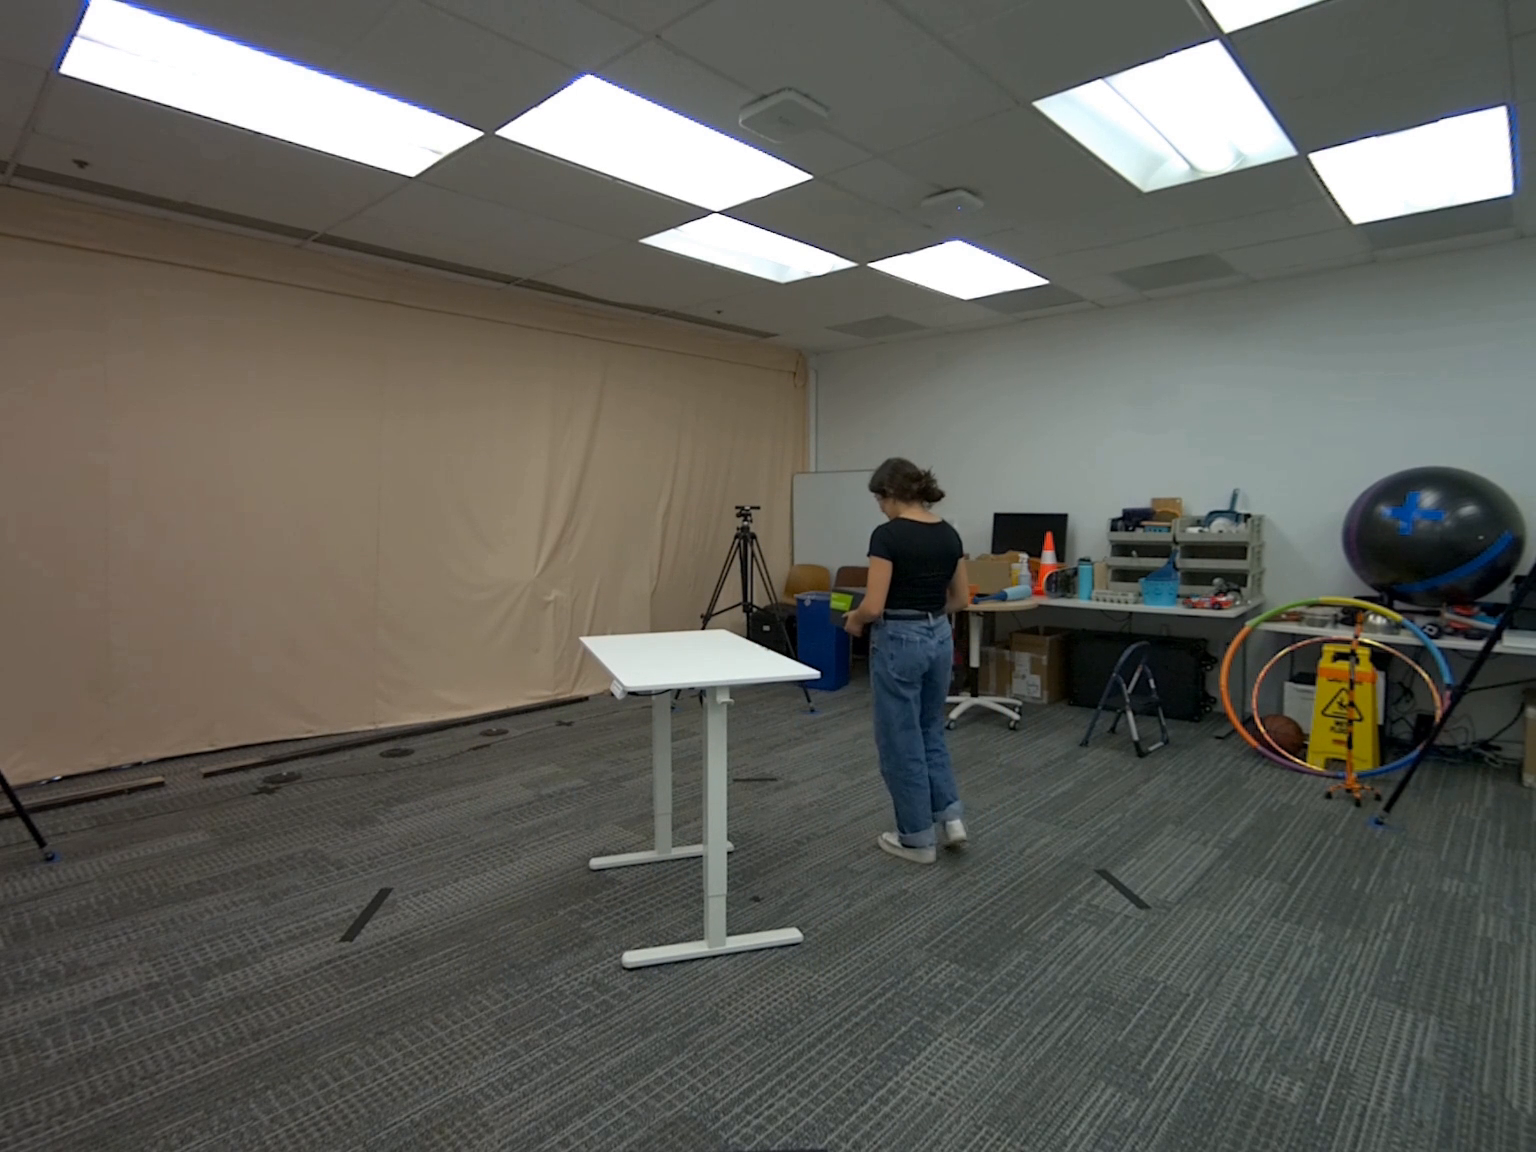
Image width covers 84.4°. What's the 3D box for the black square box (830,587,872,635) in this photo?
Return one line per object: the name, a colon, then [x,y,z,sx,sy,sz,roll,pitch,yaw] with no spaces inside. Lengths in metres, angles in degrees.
black square box: [0.418,0.138,3.493,0.210,0.155,0.235,1,6,-37]
